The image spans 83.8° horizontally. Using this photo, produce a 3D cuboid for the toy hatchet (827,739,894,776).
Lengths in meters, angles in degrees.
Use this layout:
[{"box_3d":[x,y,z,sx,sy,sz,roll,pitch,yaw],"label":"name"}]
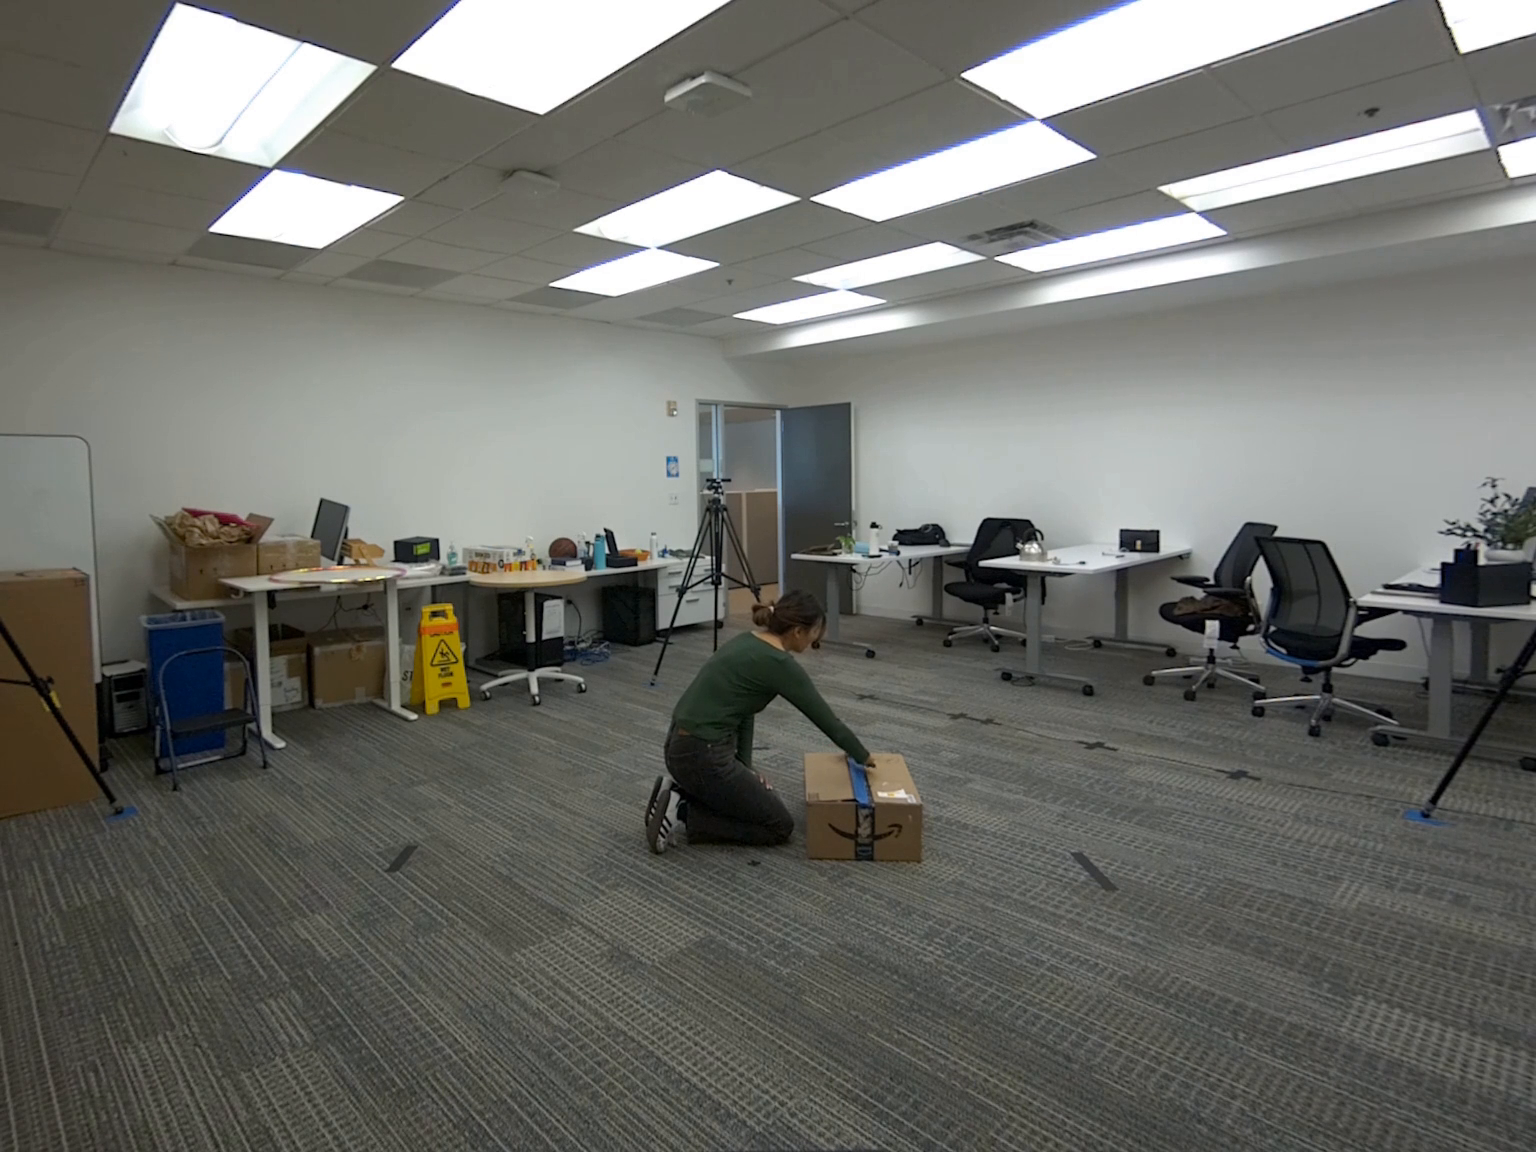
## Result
[{"box_3d":[0.375,0.734,3.523,0.127,0.029,0.279,24,-1,-32],"label":"toy hatchet"}]
